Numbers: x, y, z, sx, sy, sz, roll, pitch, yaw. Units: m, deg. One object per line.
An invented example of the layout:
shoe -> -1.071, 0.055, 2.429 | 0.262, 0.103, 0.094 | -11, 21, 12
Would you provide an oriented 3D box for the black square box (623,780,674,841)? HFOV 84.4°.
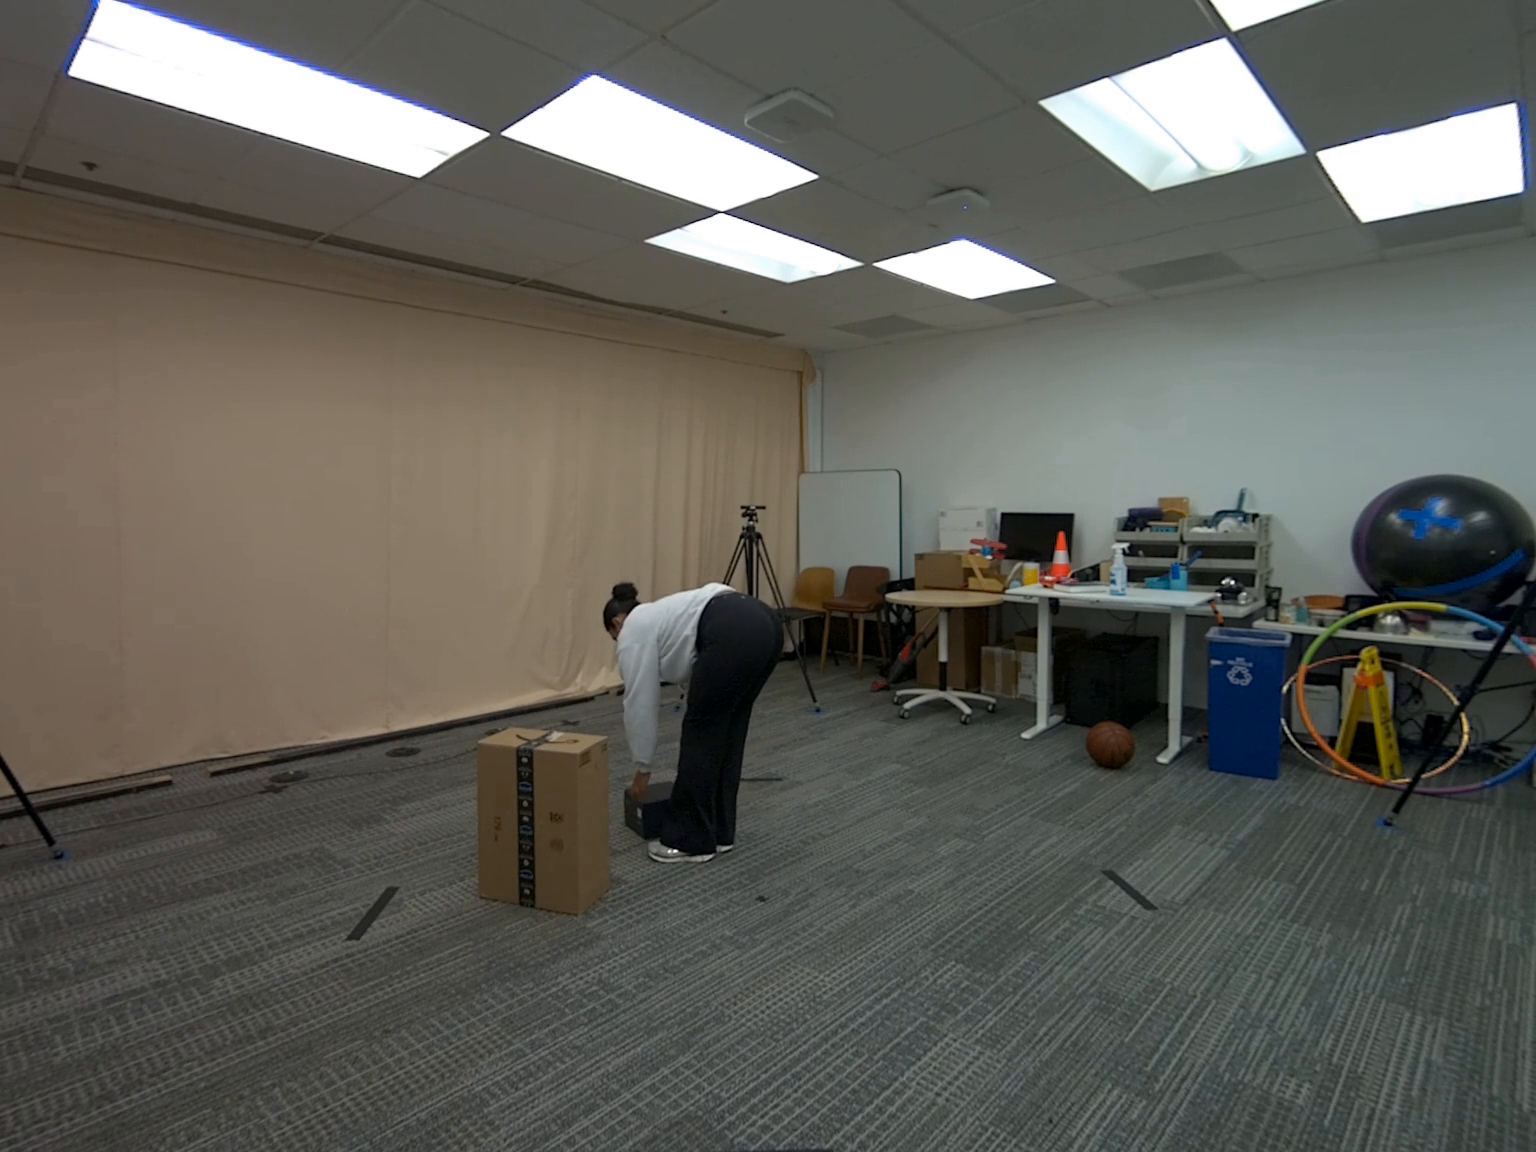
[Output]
black square box -> -0.475, 1.004, 3.651 | 0.222, 0.155, 0.223 | -3, 4, -31
